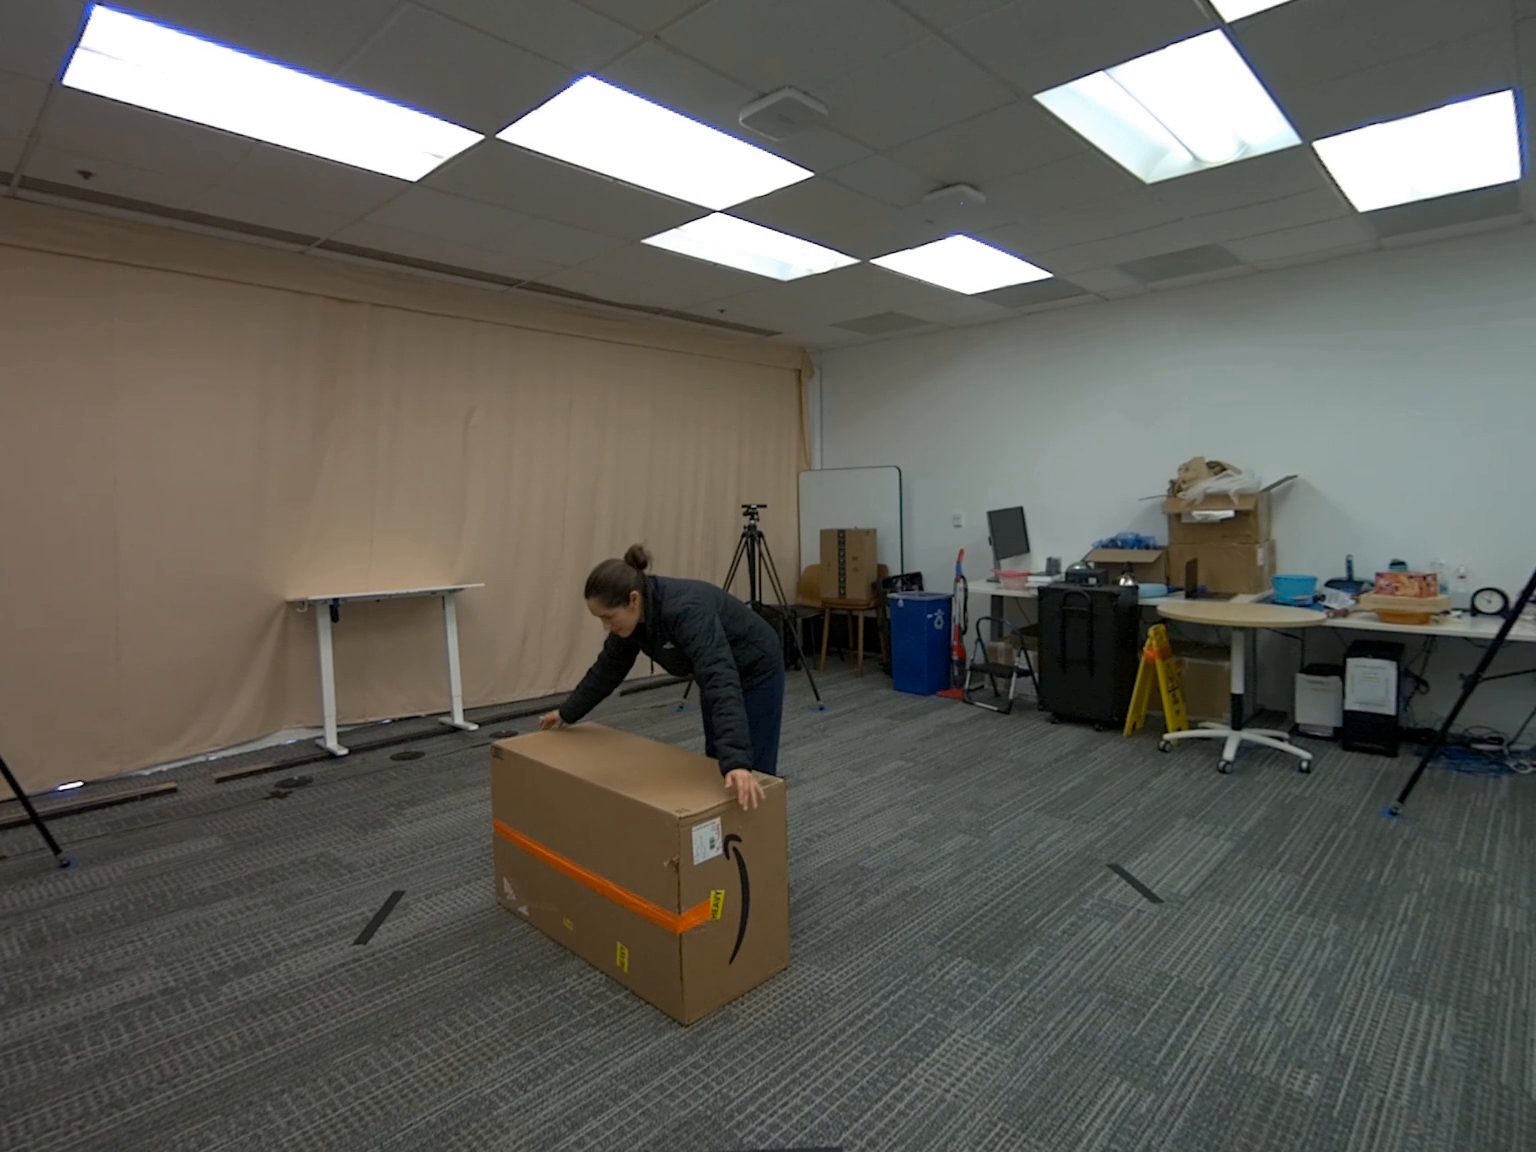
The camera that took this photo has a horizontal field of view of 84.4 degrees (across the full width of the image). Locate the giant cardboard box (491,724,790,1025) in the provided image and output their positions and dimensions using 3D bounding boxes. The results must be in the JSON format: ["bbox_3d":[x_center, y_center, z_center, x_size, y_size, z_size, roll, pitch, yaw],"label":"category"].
[{"bbox_3d":[-0.444,0.882,2.741,0.433,0.583,1.061,-3,4,-44],"label":"giant cardboard box"}]
